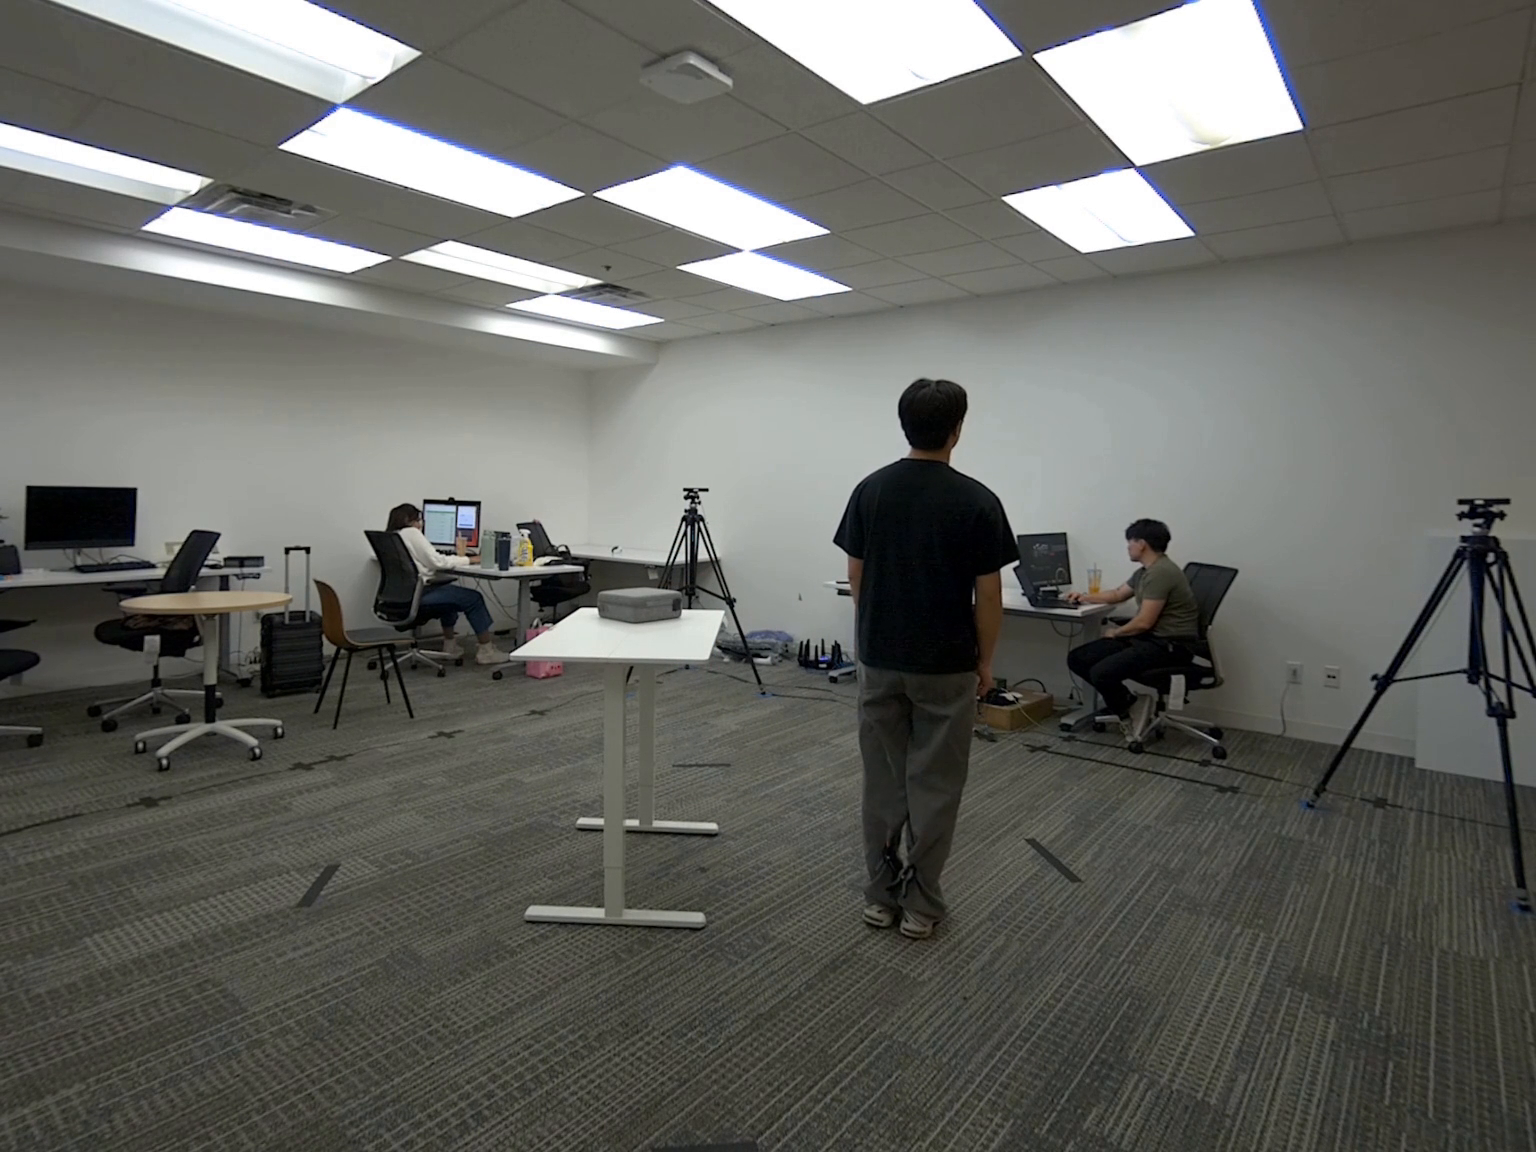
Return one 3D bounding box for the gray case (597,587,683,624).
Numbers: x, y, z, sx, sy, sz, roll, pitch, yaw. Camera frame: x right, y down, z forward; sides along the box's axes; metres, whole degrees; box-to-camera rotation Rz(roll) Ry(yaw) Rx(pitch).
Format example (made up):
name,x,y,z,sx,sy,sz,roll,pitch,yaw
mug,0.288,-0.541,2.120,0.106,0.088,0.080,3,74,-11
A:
name,x,y,z,sx,sy,sz,roll,pitch,yaw
gray case,-0.523,0.106,3.329,0.297,0.102,0.255,5,8,45
